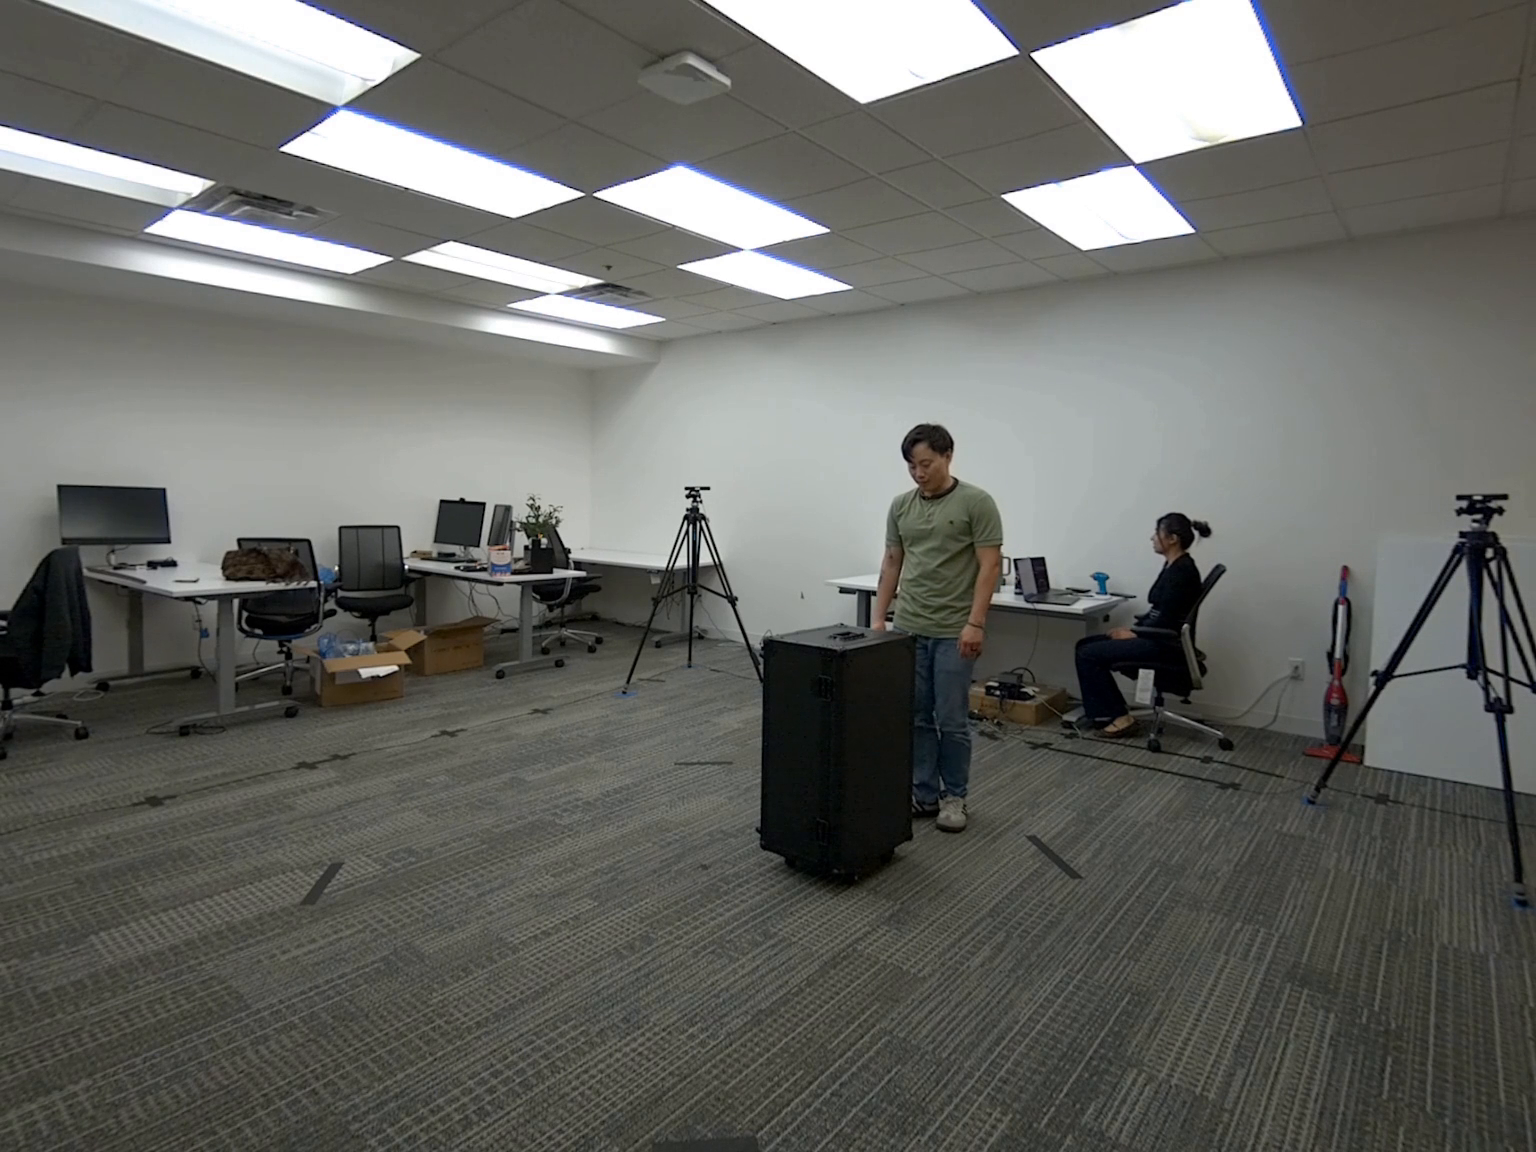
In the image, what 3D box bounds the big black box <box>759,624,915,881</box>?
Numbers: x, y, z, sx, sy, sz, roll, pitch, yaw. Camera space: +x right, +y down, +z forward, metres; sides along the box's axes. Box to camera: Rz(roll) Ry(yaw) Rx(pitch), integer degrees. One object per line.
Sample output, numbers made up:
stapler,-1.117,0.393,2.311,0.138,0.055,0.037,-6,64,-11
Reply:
big black box,0.245,0.643,3.163,0.409,0.860,0.505,2,3,41
